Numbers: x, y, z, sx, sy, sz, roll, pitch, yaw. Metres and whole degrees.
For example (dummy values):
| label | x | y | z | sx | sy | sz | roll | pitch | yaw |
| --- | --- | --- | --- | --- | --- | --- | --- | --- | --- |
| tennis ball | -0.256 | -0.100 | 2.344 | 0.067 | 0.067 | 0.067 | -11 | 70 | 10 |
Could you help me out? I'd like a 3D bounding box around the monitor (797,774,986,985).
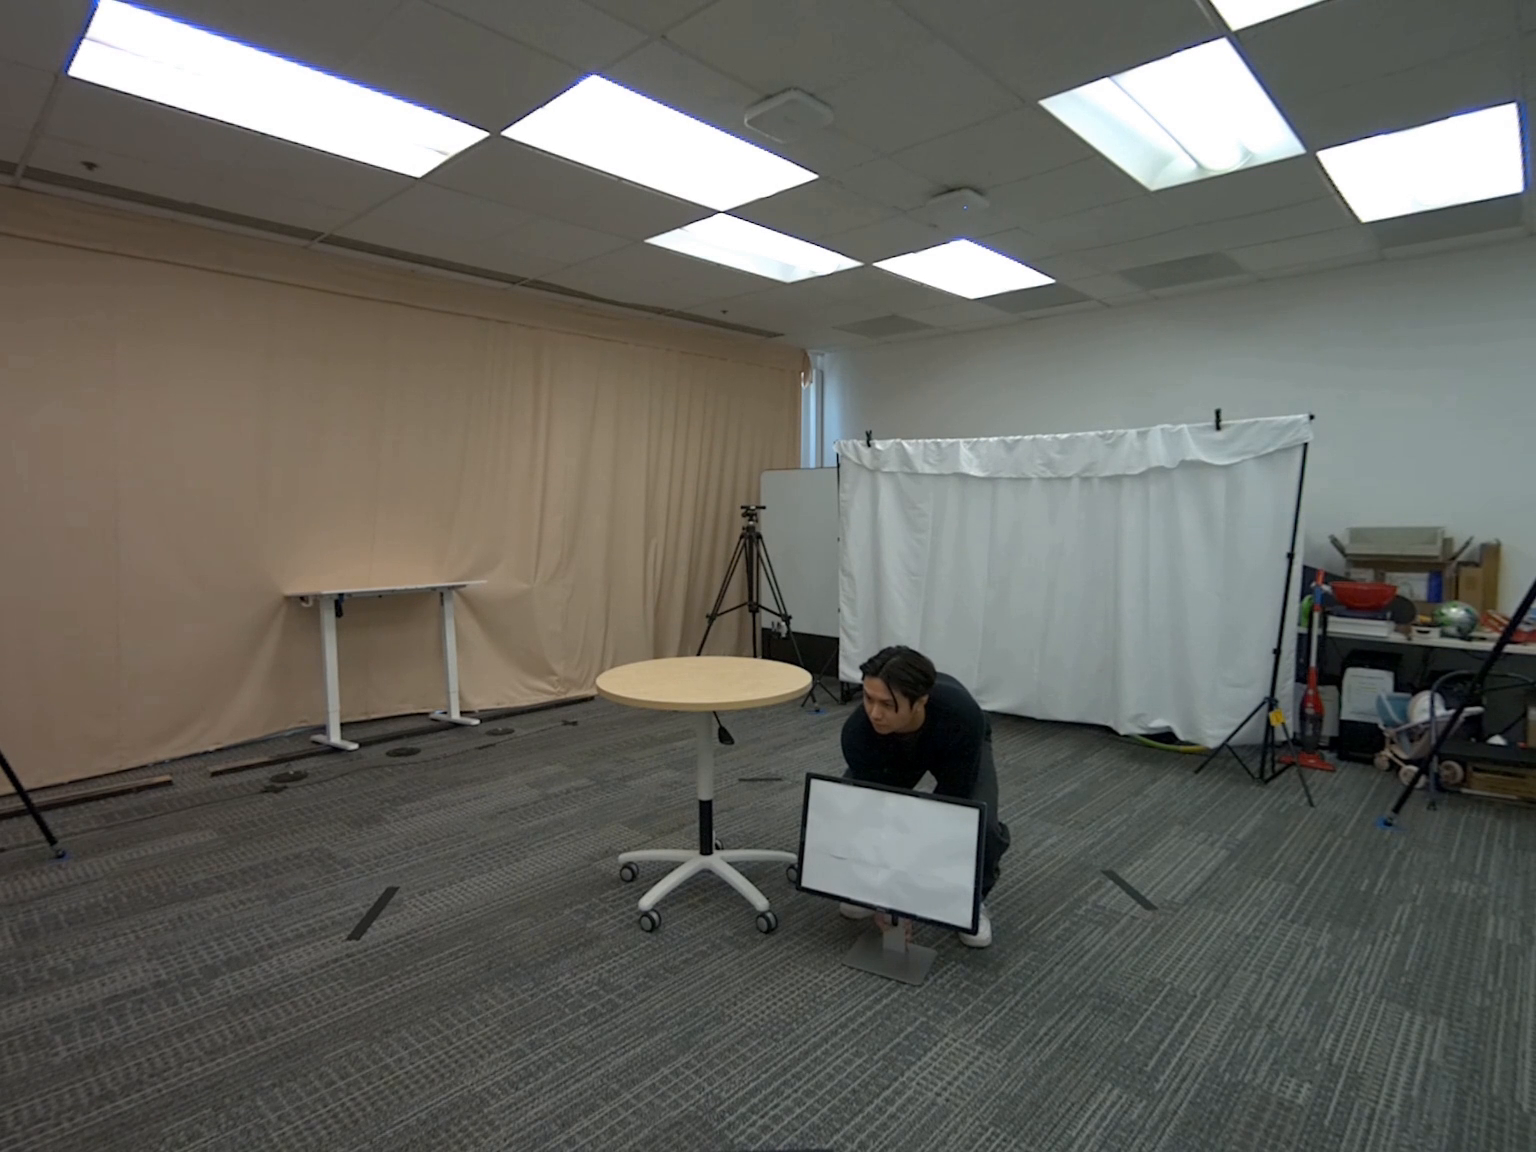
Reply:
| label | x | y | z | sx | sy | sz | roll | pitch | yaw |
| --- | --- | --- | --- | --- | --- | --- | --- | --- | --- |
| monitor | 0.379 | 0.908 | 2.568 | 0.554 | 0.521 | 0.182 | 2 | 4 | 29 |
